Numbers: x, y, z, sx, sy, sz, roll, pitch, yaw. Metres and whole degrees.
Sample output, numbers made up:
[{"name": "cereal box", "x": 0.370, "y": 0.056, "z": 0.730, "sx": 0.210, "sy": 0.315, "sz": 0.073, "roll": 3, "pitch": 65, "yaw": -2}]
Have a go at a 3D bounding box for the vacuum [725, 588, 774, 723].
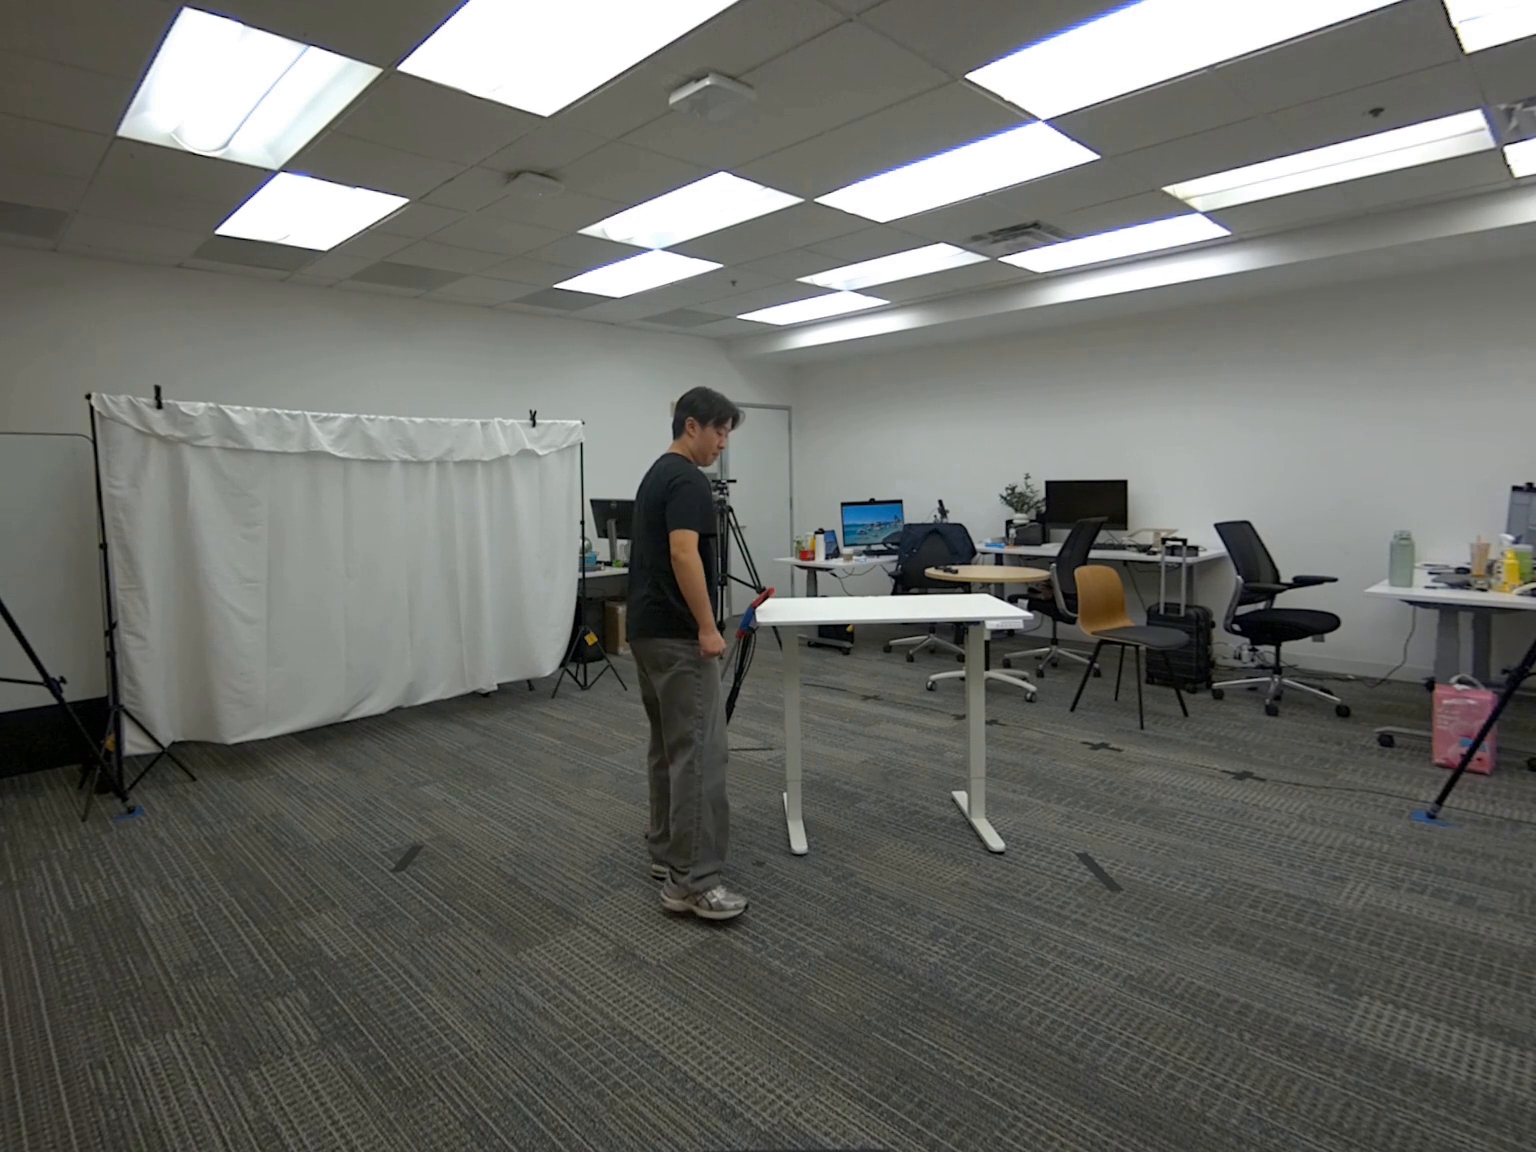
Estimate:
[{"name": "vacuum", "x": -0.192, "y": 0.534, "z": 3.407, "sx": 0.144, "sy": 1.046, "sz": 0.254, "roll": 23, "pitch": 6, "yaw": -3}]
